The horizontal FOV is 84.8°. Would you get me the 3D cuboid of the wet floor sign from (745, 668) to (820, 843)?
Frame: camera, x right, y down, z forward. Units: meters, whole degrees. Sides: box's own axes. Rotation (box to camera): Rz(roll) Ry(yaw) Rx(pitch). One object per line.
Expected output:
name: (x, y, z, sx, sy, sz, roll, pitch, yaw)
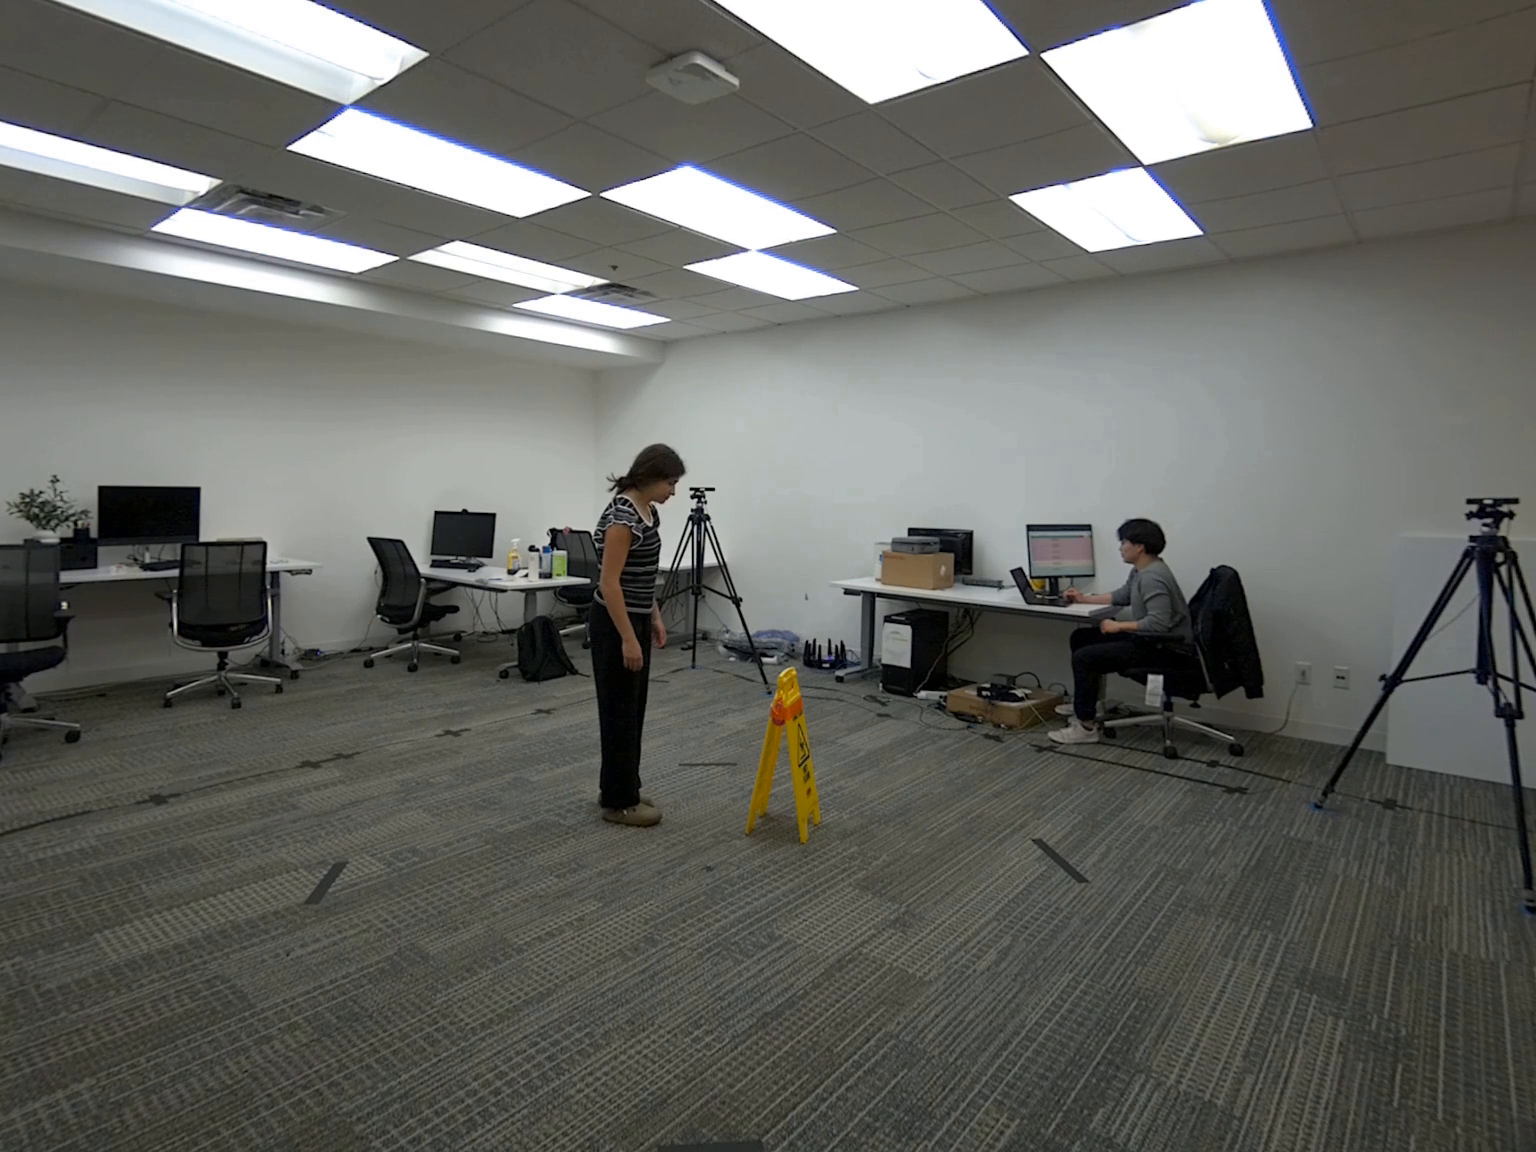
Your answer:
wet floor sign: (0.066, 0.711, 3.497, 0.295, 0.644, 0.278, 3, 4, 18)
